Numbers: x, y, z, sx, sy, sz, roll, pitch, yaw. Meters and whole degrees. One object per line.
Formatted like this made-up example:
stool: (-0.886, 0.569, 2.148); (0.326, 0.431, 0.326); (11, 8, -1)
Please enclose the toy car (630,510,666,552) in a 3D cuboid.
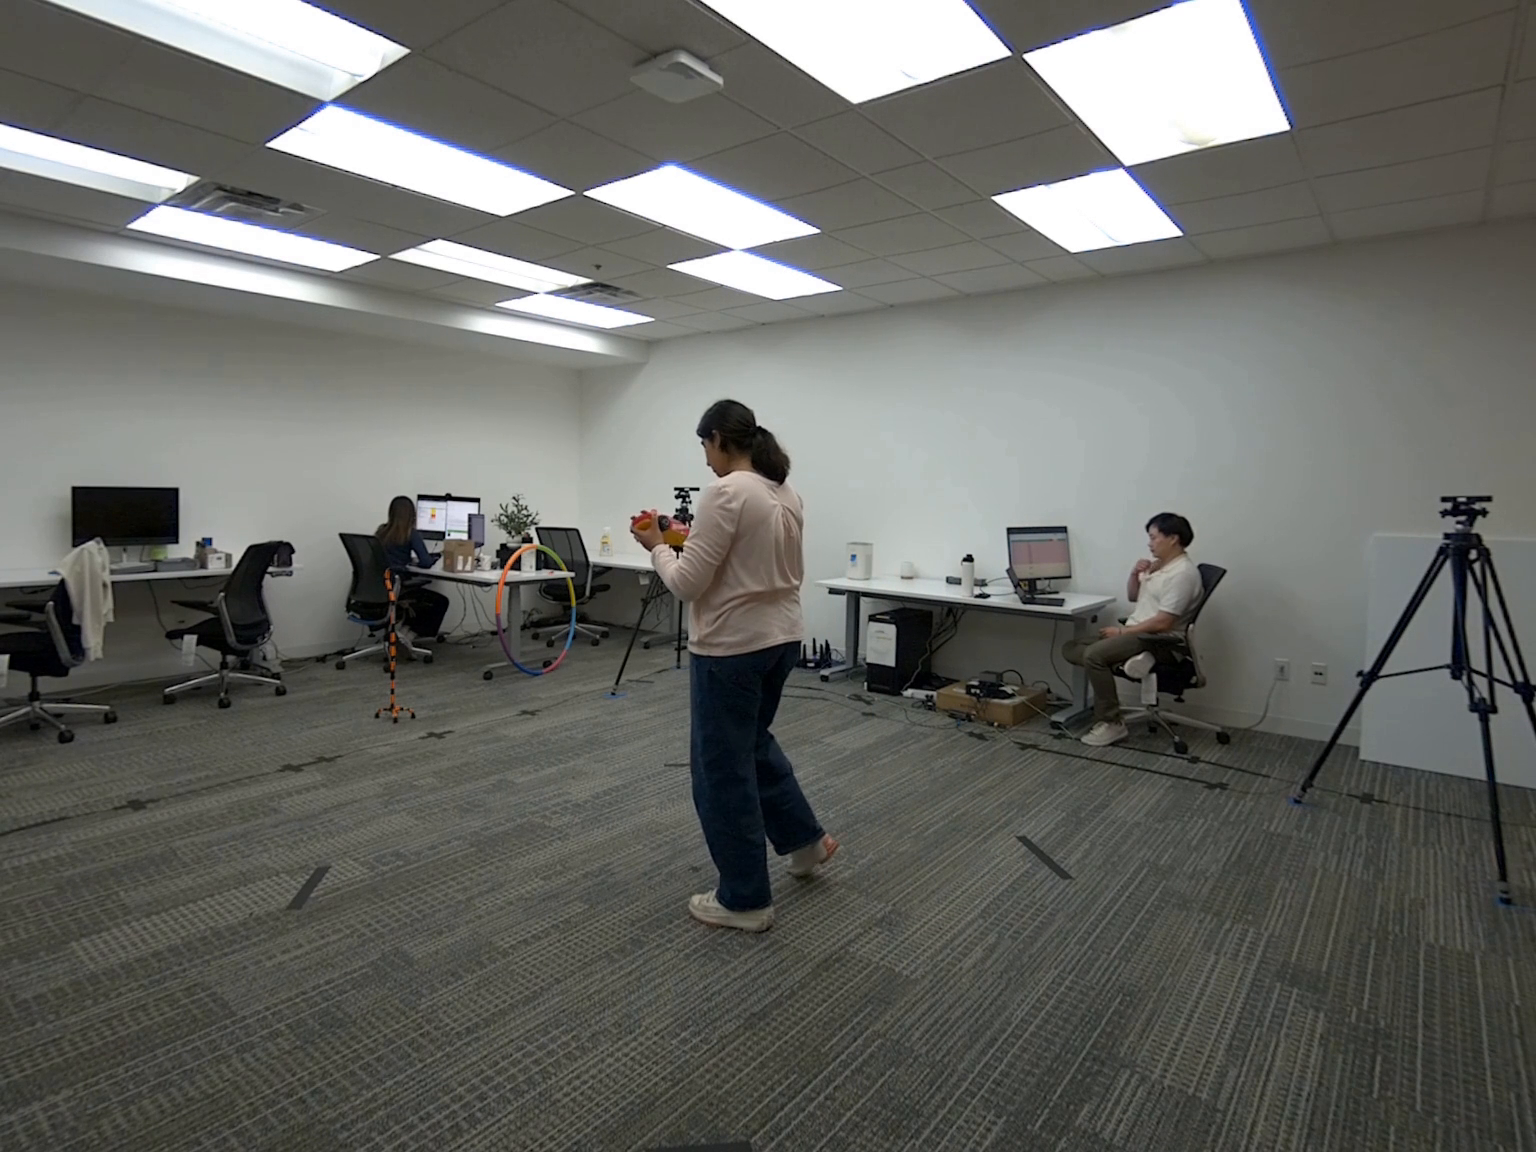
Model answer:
toy car: (-0.347, -0.153, 2.868); (0.245, 0.085, 0.132); (30, -39, -30)
